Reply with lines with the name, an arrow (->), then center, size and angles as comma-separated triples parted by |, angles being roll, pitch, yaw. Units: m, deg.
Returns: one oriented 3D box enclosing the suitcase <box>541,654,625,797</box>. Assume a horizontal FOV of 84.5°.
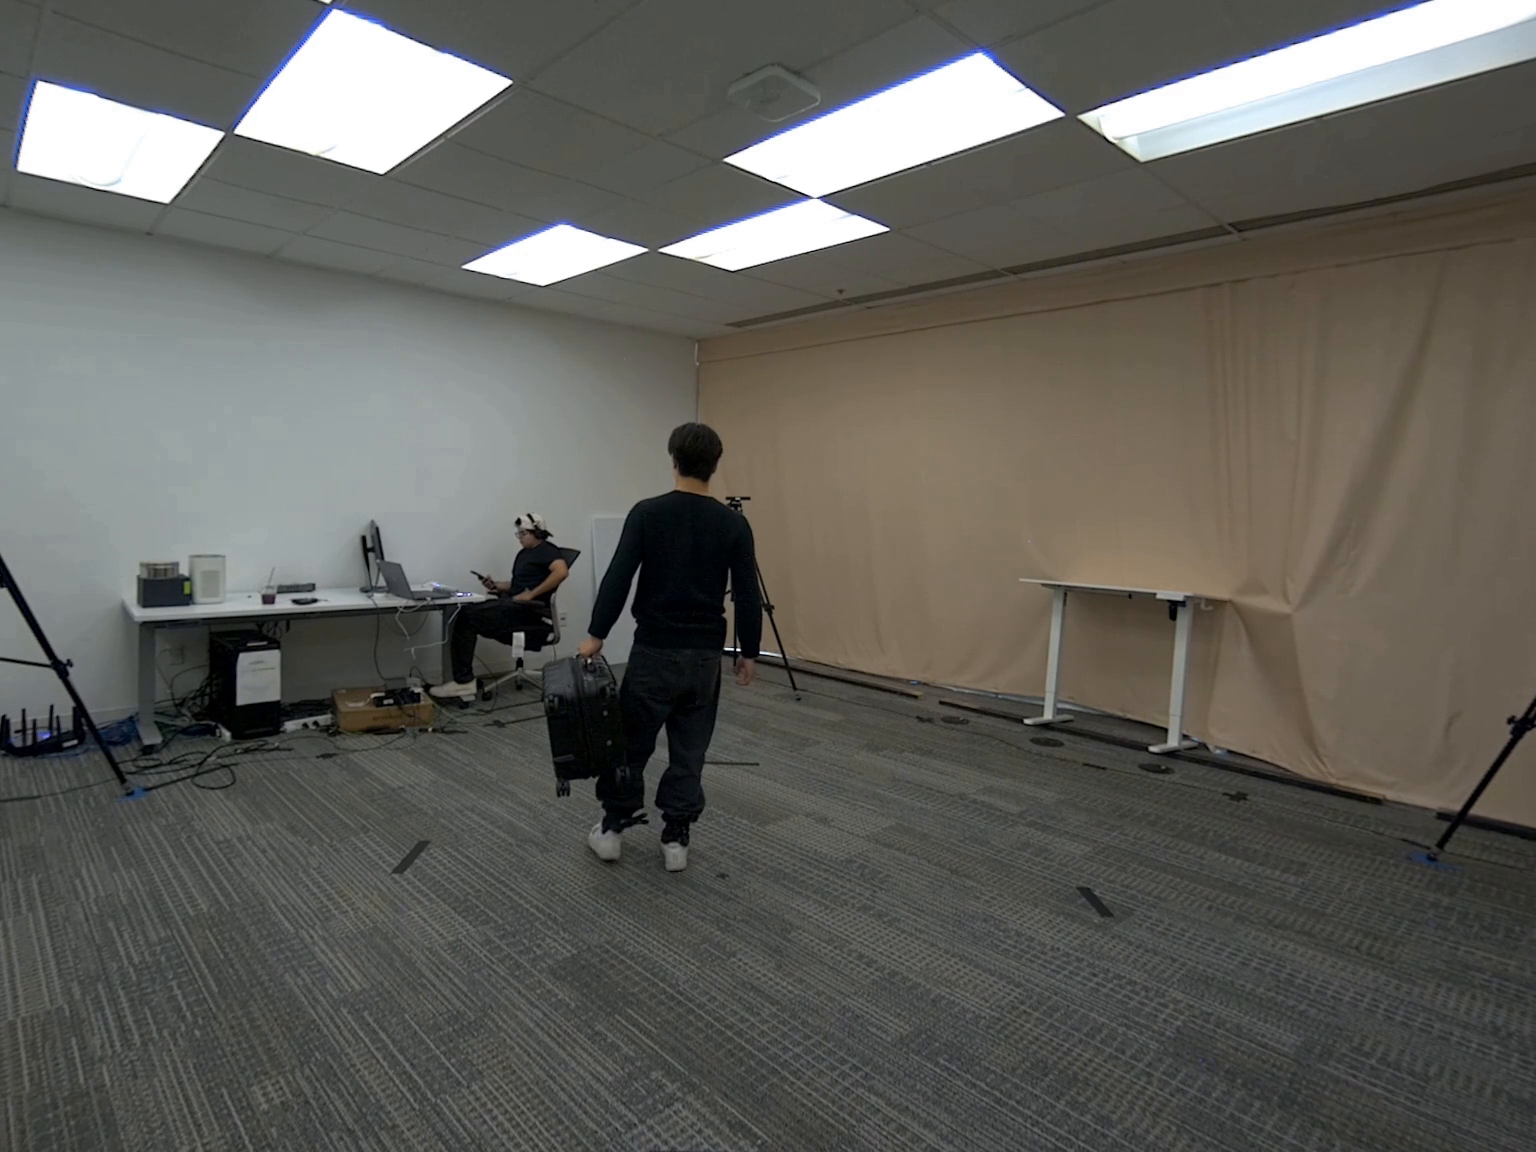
suitcase -> -0.757, 0.487, 3.298 | 0.254, 0.381, 0.996 | -10, 9, -17
